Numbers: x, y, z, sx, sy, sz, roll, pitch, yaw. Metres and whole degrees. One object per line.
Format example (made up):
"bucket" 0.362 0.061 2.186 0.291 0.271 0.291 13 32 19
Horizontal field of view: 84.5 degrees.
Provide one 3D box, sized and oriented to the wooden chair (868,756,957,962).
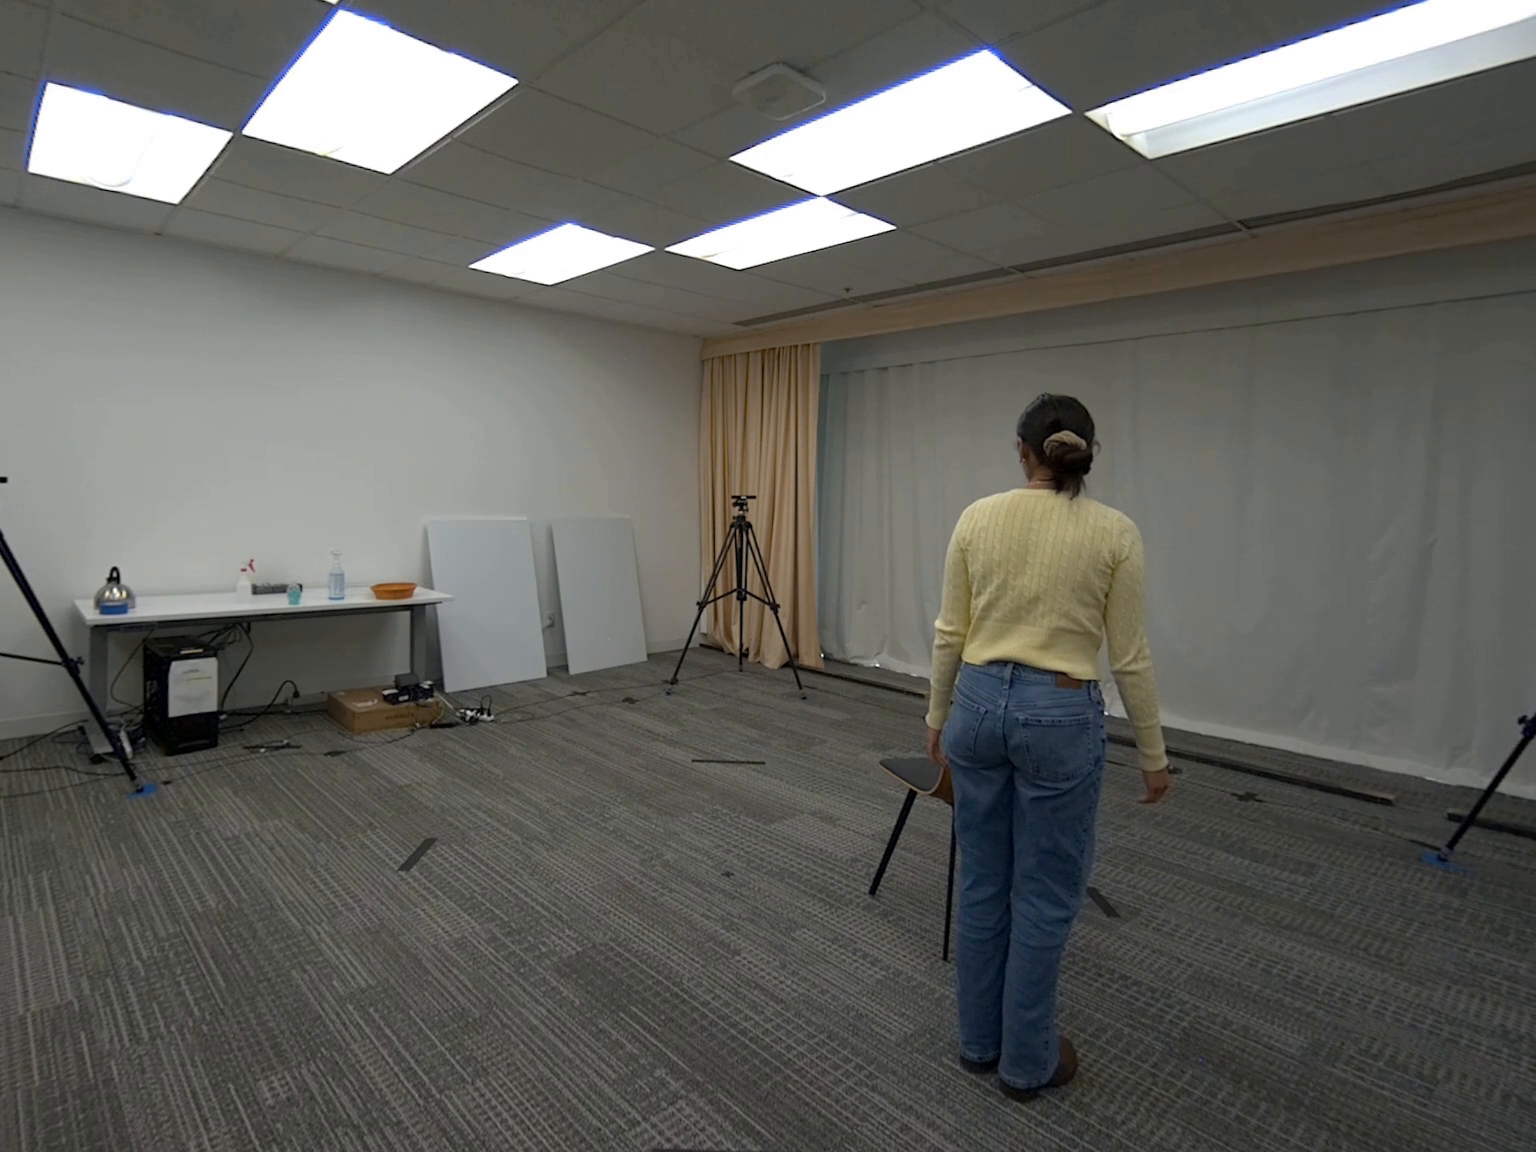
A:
"wooden chair" 0.652 0.723 2.815 0.470 0.872 0.535 0 9 -22
